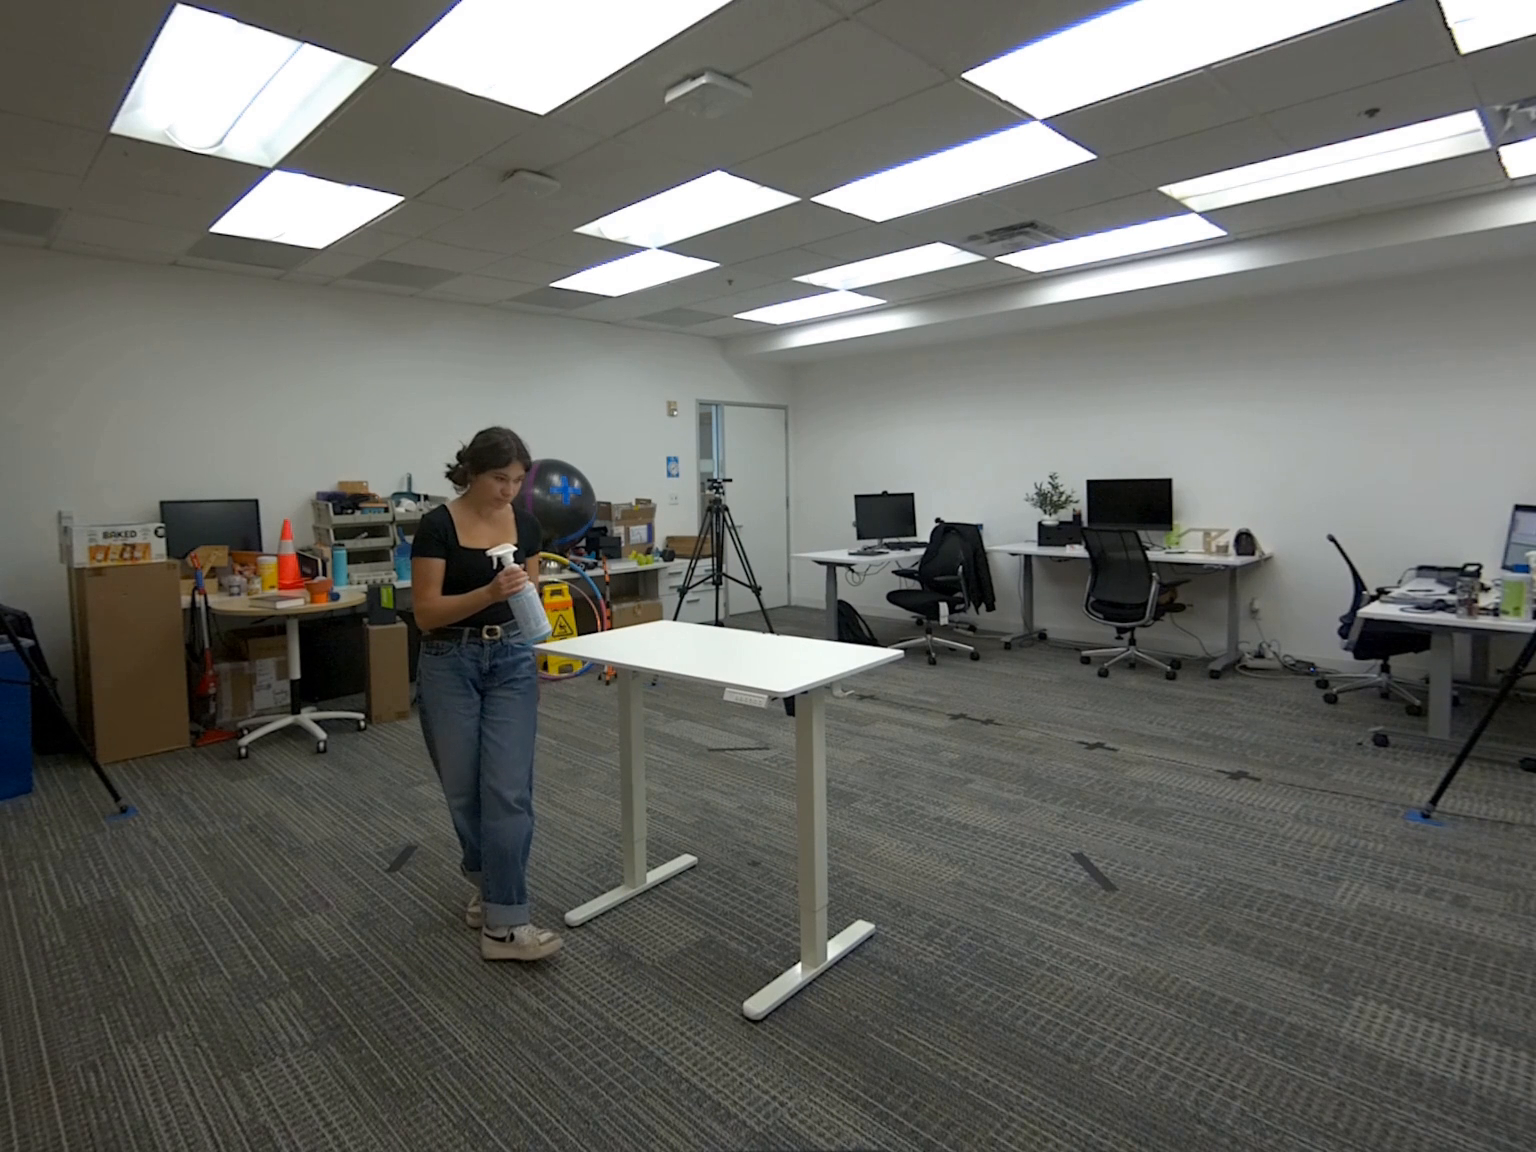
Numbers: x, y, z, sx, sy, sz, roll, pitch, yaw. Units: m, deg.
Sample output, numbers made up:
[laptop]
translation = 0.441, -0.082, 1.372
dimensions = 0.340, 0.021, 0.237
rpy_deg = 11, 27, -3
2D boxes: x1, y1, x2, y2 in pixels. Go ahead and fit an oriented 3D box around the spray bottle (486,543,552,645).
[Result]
[spray bottle]
translation = -0.712, 0.046, 2.453
dimensions = 0.089, 0.294, 0.089
rpy_deg = -23, 10, -18
